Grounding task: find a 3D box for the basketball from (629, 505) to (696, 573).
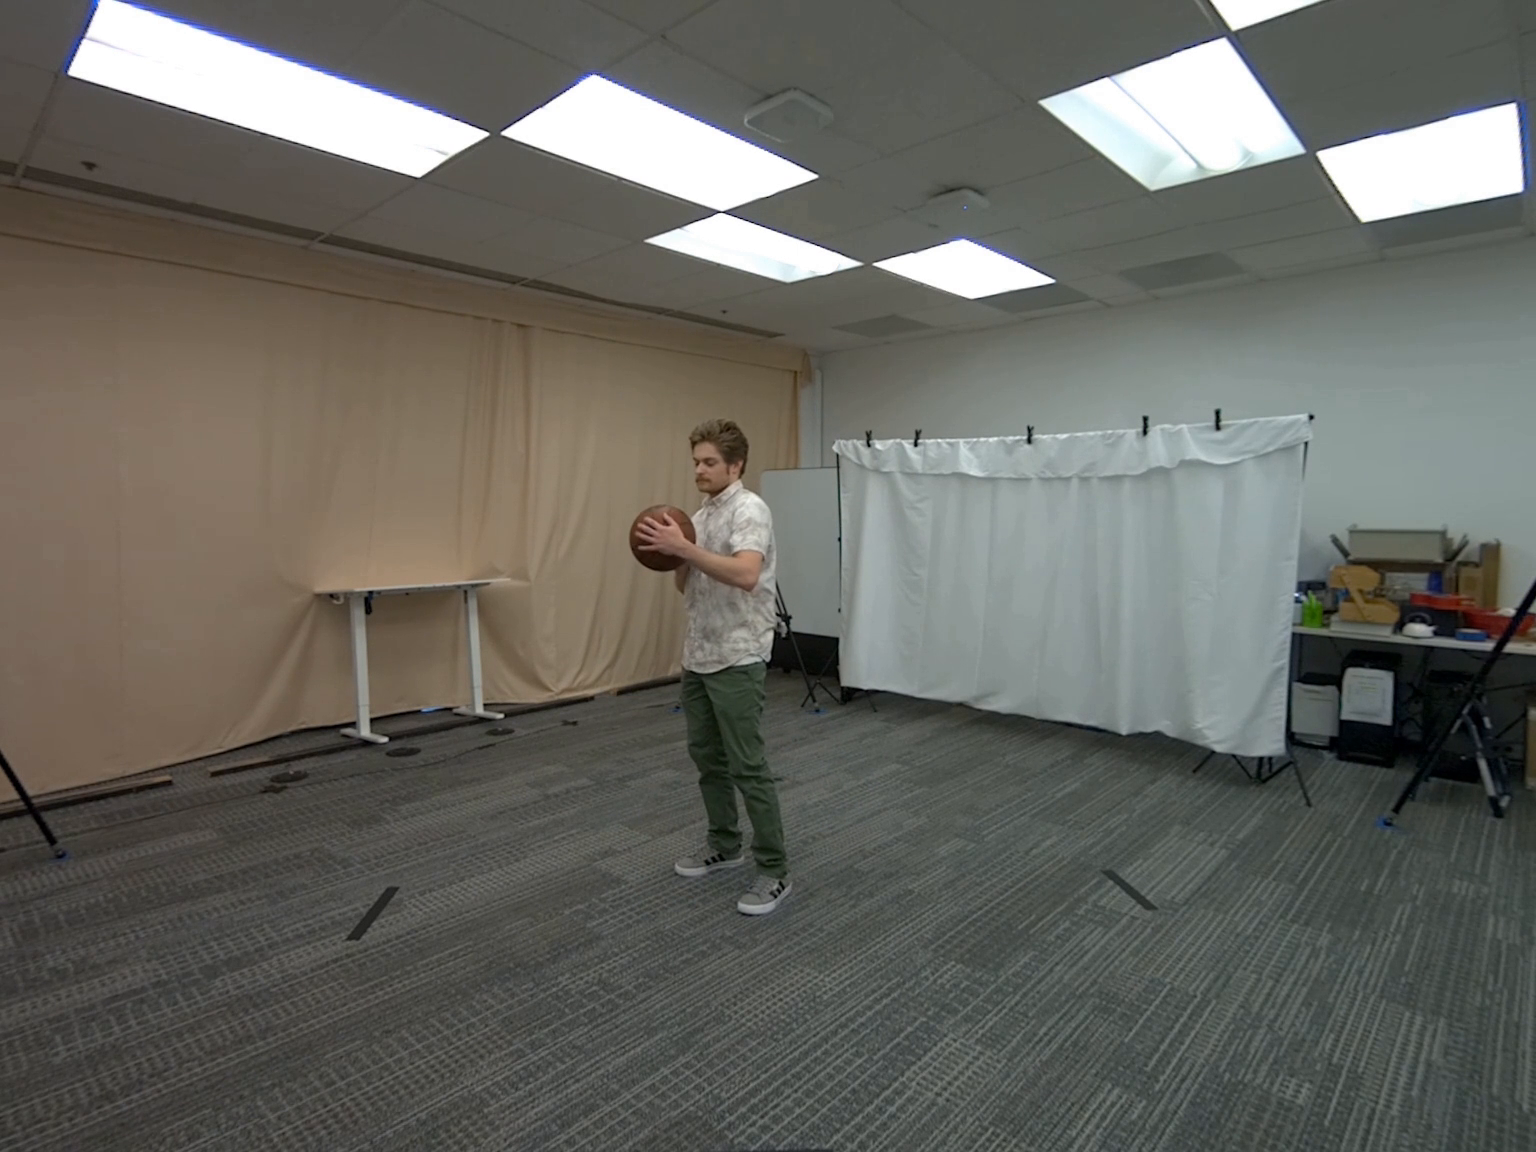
[{"bbox_3d":[-0.372,-0.135,3.010,0.236,0.235,0.237,0,4,-2],"label":"basketball"}]
